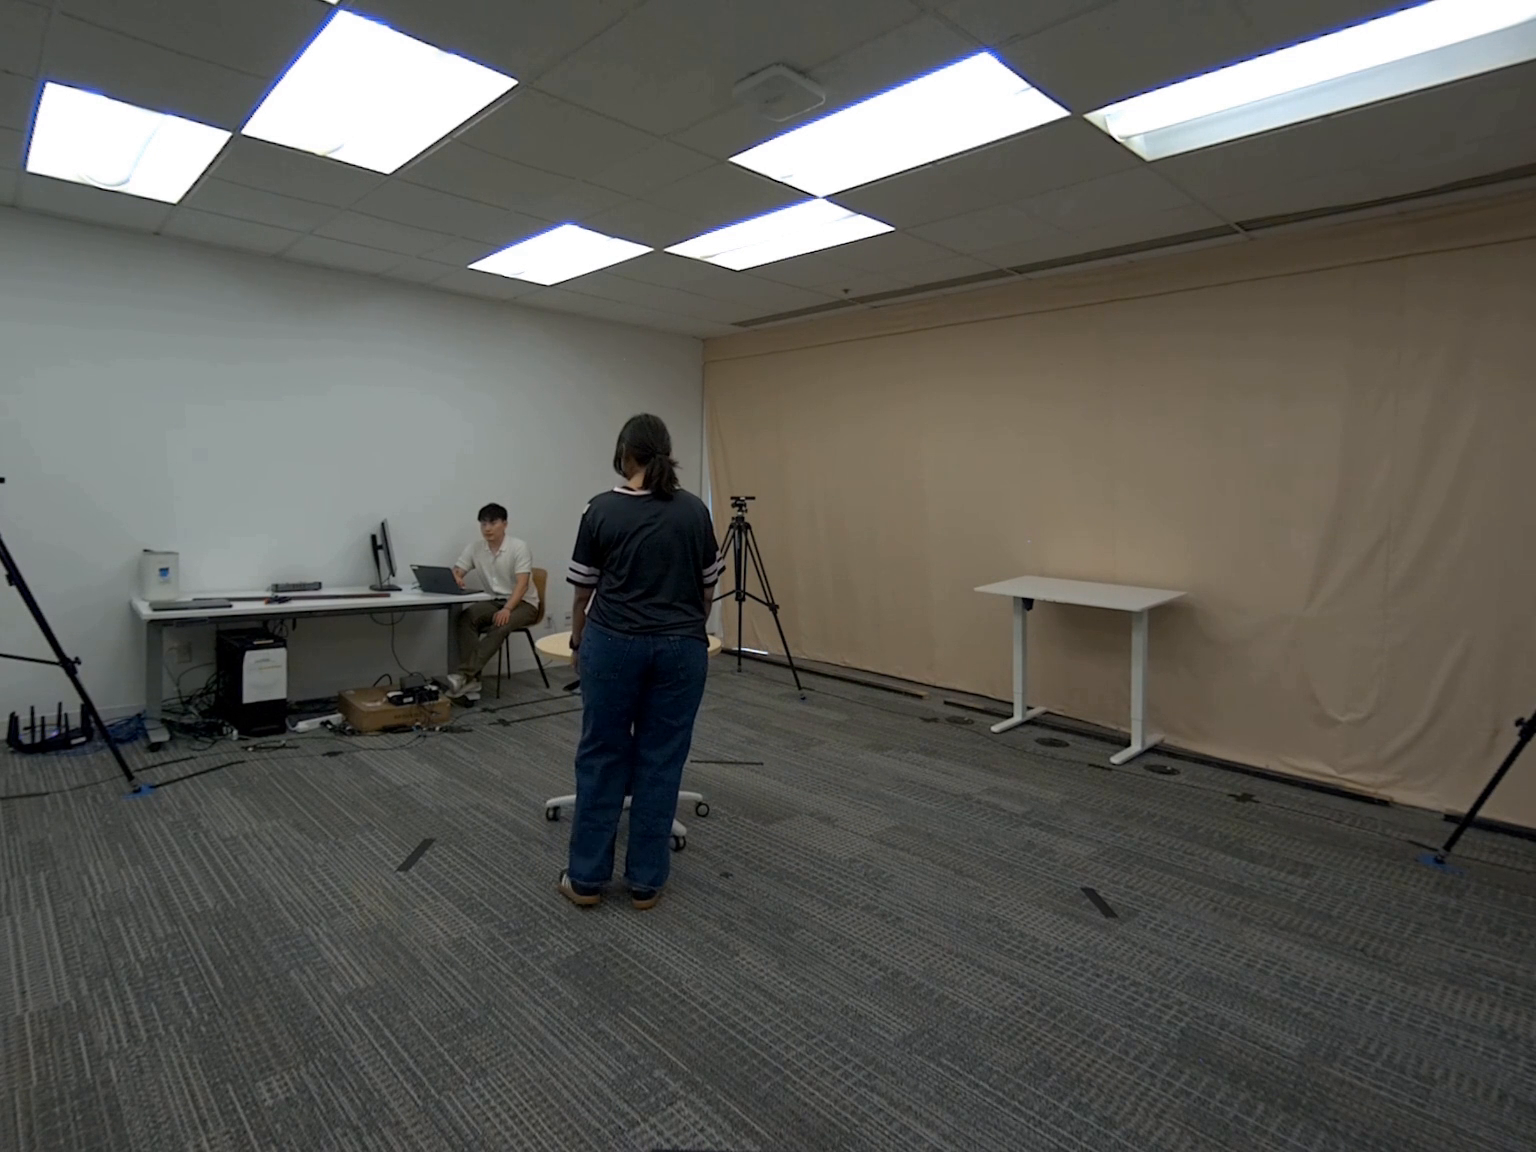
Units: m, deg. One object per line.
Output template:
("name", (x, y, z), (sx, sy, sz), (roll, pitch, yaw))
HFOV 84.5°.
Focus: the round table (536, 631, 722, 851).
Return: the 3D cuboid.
("round table", (-0.581, 0.672, 3.515), (0.763, 0.792, 0.767), (1, 4, -1))
